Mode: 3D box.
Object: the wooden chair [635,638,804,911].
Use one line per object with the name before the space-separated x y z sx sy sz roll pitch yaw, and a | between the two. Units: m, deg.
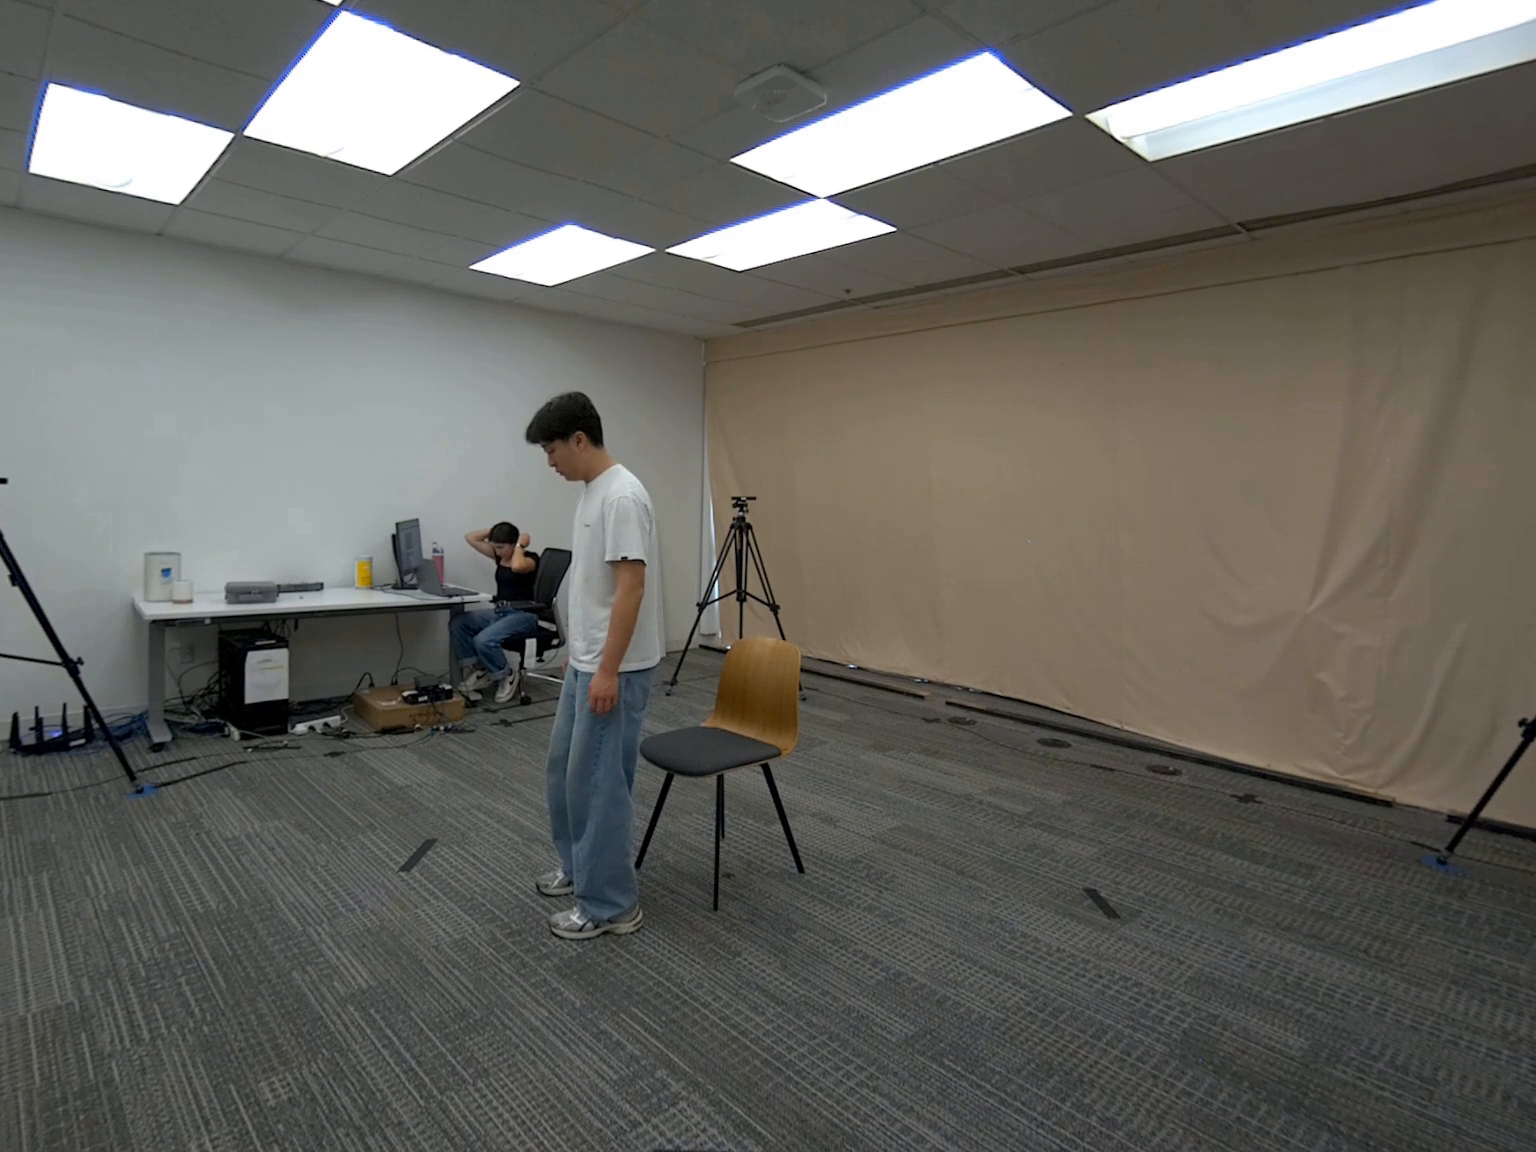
wooden chair | -0.181 0.678 3.111 0.510 0.877 0.490 4 0 -45
